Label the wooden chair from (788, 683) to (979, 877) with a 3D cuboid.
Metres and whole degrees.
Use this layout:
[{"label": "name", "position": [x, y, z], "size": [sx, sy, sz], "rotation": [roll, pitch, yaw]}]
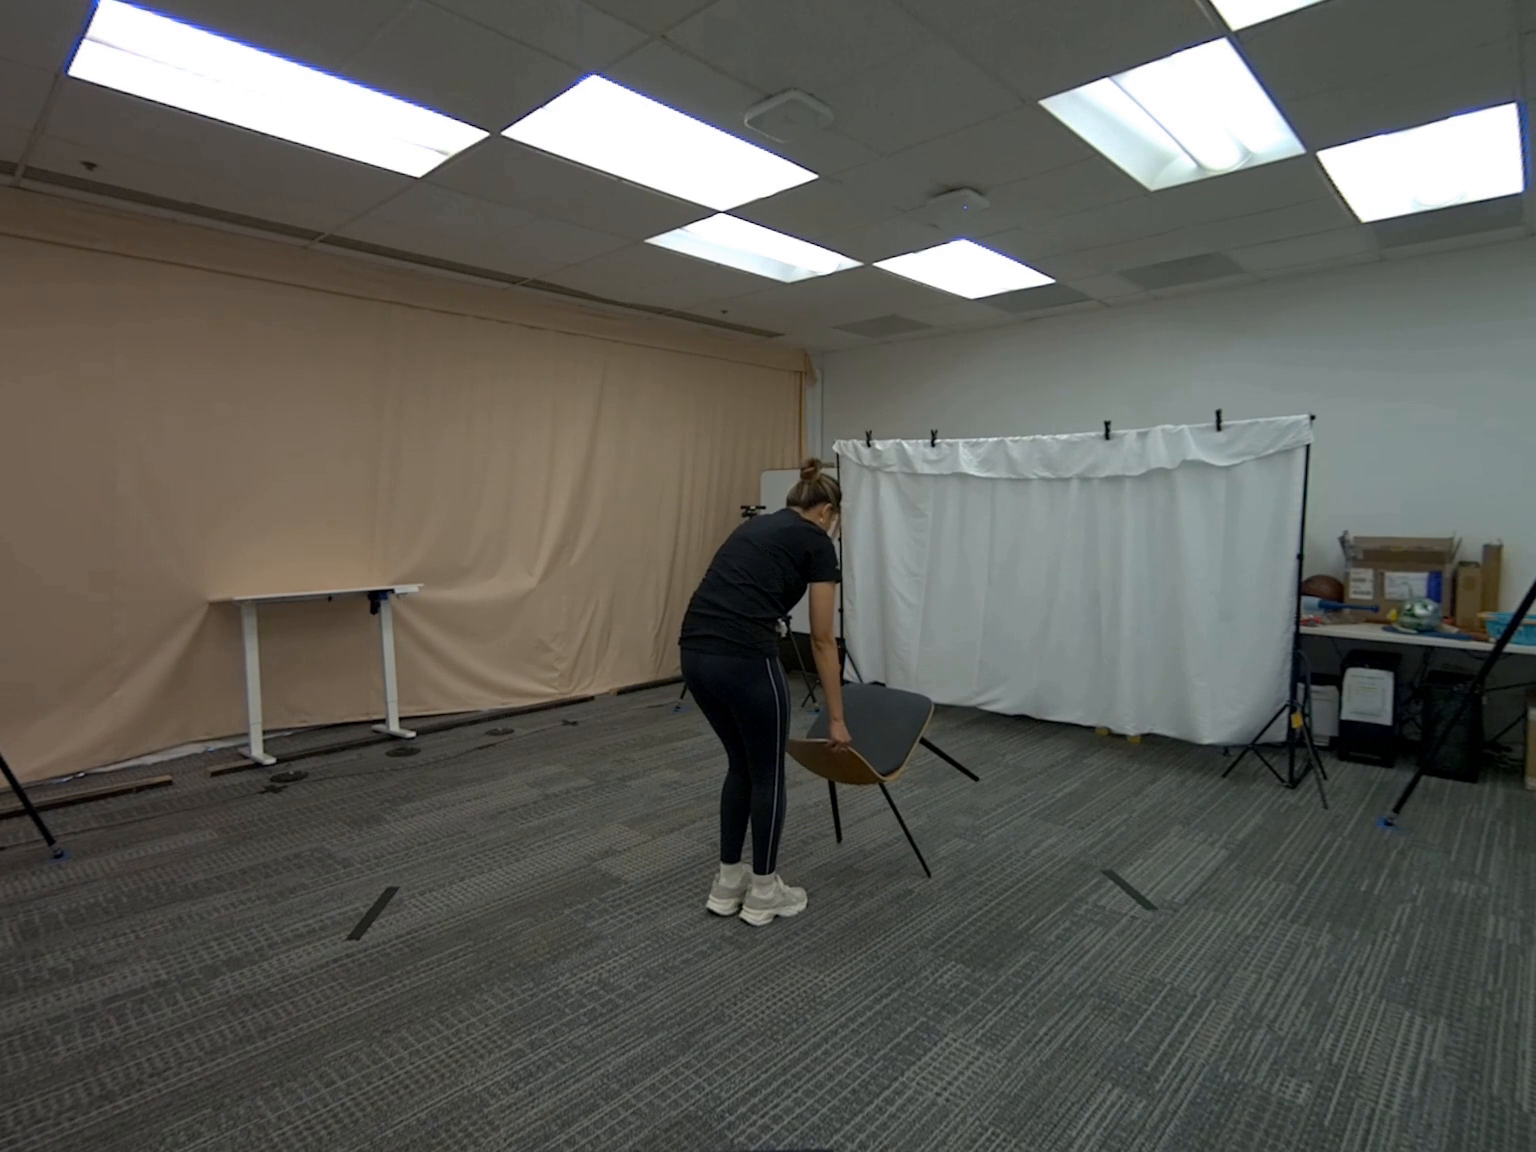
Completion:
[{"label": "wooden chair", "position": [0.374, 0.644, 3.221], "size": [0.494, 0.522, 0.851], "rotation": [4, -39, 47]}]
